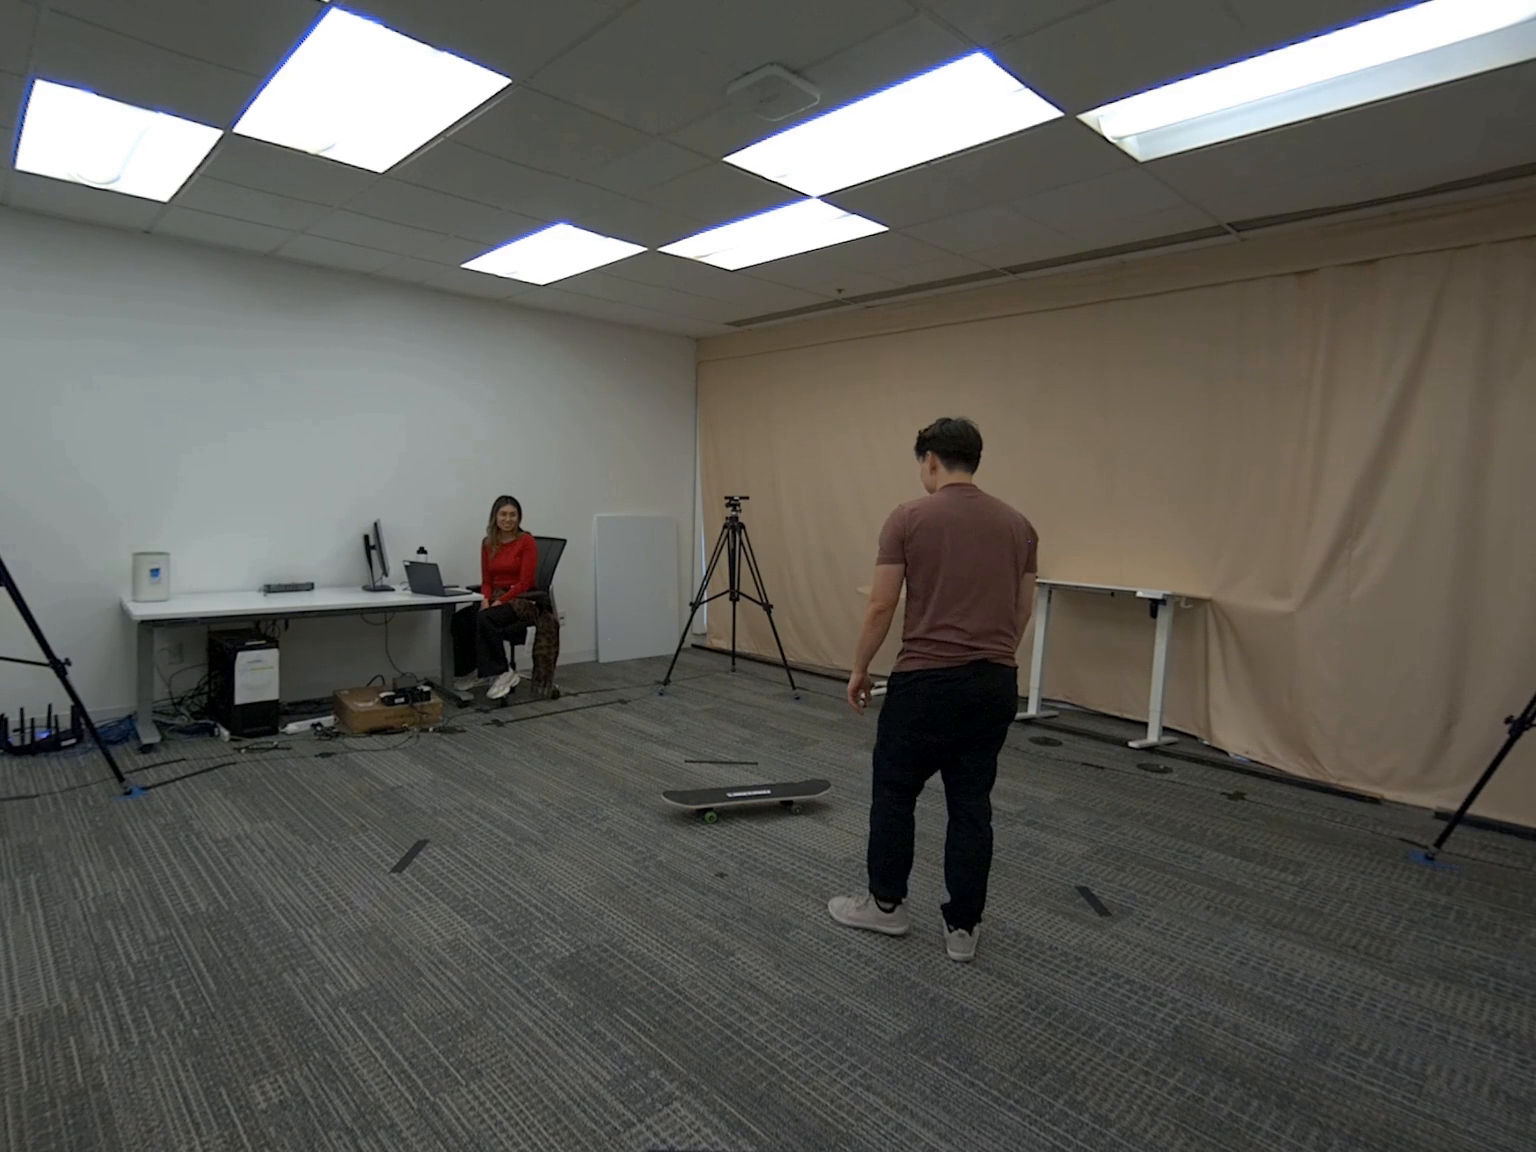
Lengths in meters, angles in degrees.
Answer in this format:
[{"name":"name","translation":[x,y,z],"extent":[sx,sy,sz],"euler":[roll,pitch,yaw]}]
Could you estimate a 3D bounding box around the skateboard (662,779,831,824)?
[{"name":"skateboard","translation":[-0.094,0.994,3.735],"extent":[0.775,0.110,0.196],"euler":[0,4,-18]}]
